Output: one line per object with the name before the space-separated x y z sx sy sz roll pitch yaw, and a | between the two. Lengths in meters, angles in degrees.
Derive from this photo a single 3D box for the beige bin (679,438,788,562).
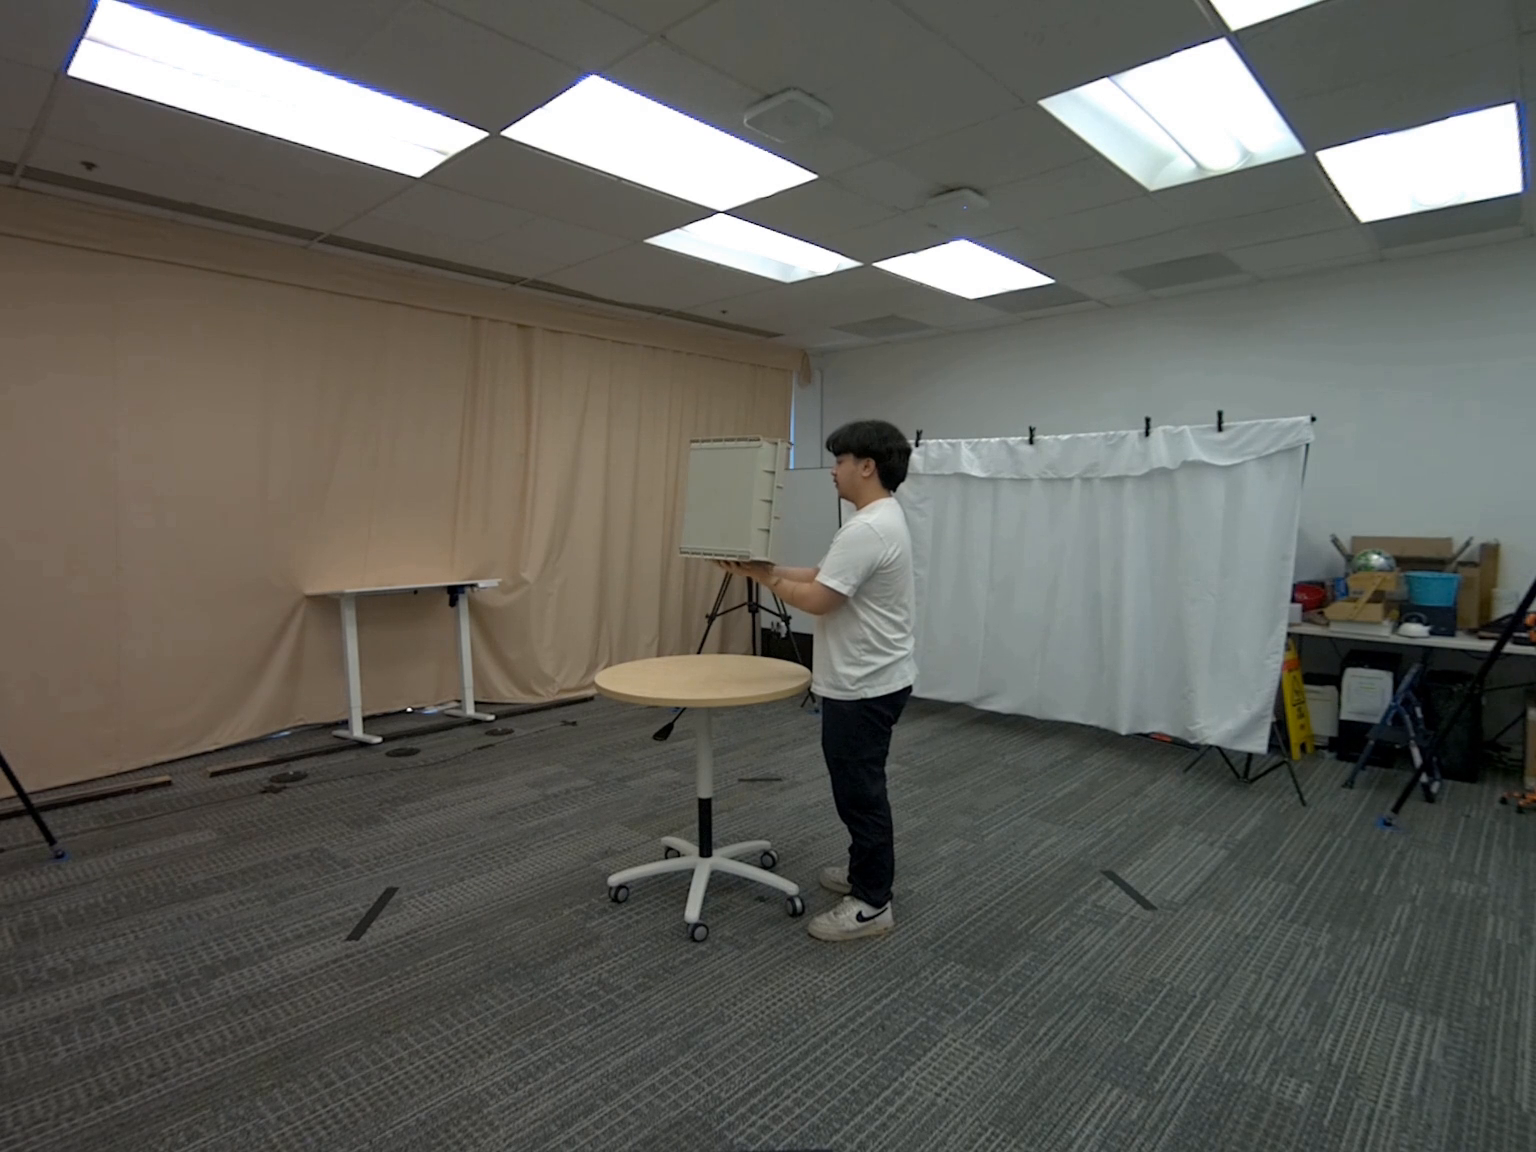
beige bin | -0.100 -0.258 2.903 0.390 0.422 0.183 5 -1 37
